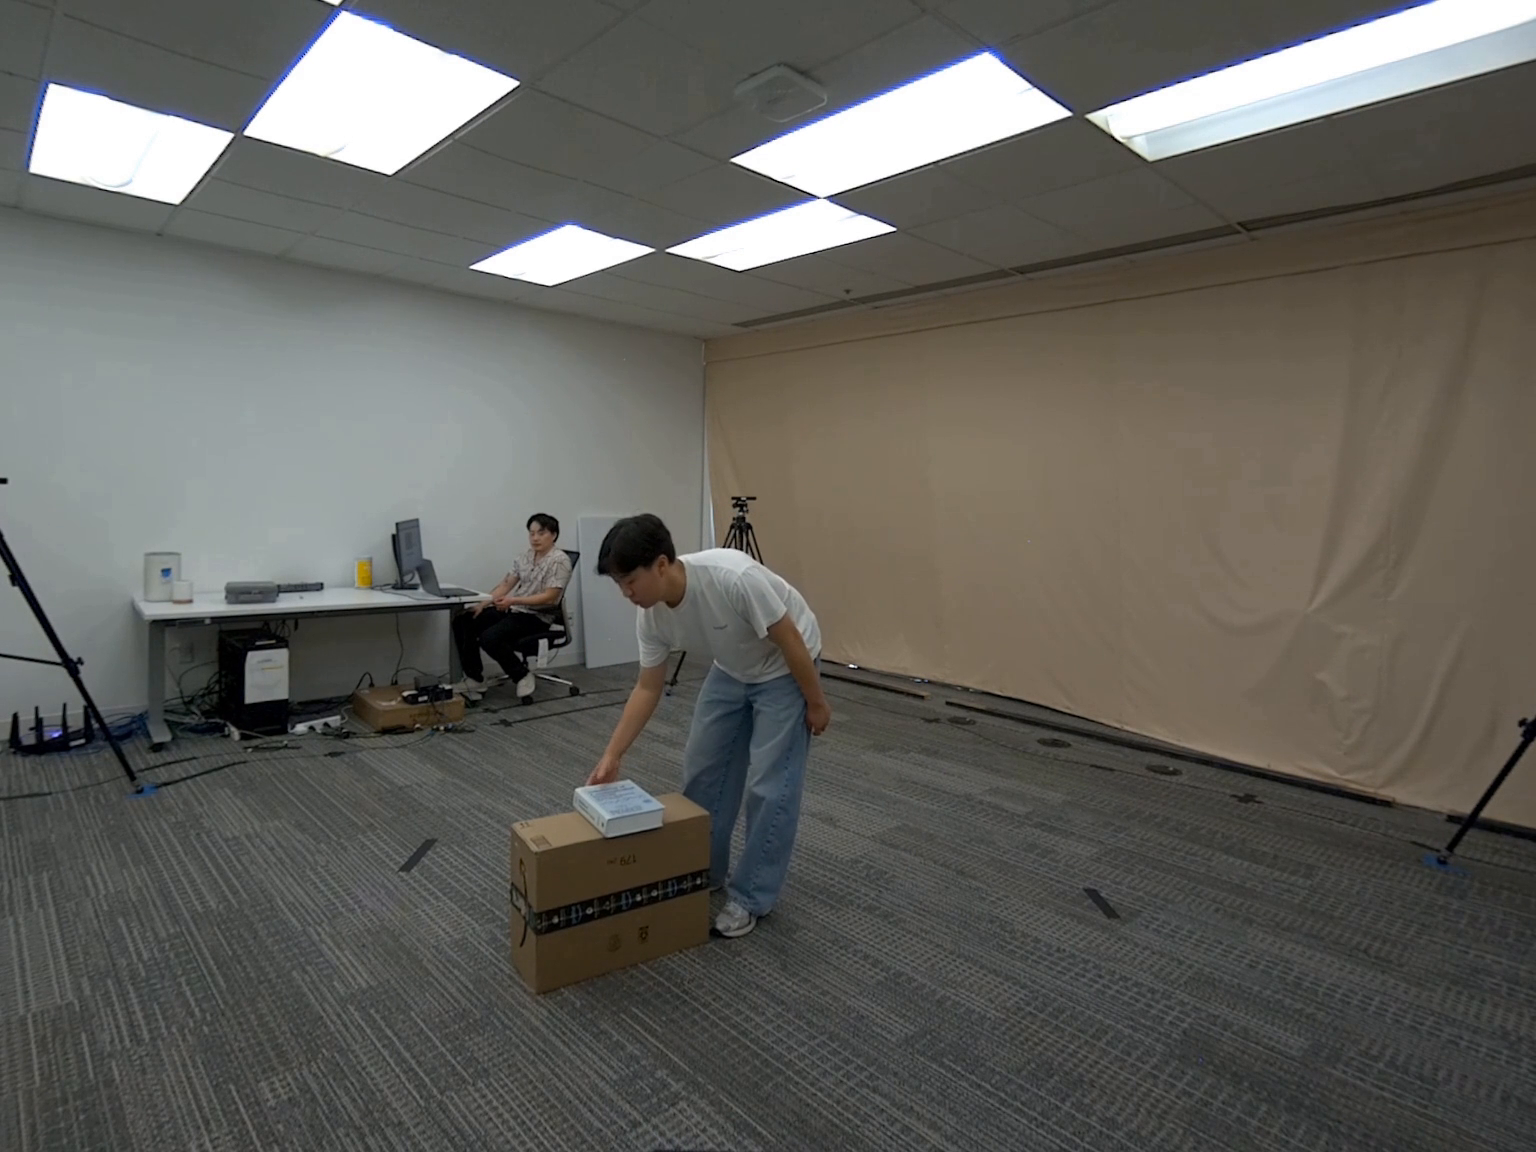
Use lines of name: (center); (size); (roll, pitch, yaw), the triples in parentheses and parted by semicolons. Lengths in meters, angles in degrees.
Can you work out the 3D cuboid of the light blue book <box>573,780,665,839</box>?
light blue book: (-0.464, 0.708, 2.548); (0.187, 0.059, 0.267); (-2, 7, -33)
